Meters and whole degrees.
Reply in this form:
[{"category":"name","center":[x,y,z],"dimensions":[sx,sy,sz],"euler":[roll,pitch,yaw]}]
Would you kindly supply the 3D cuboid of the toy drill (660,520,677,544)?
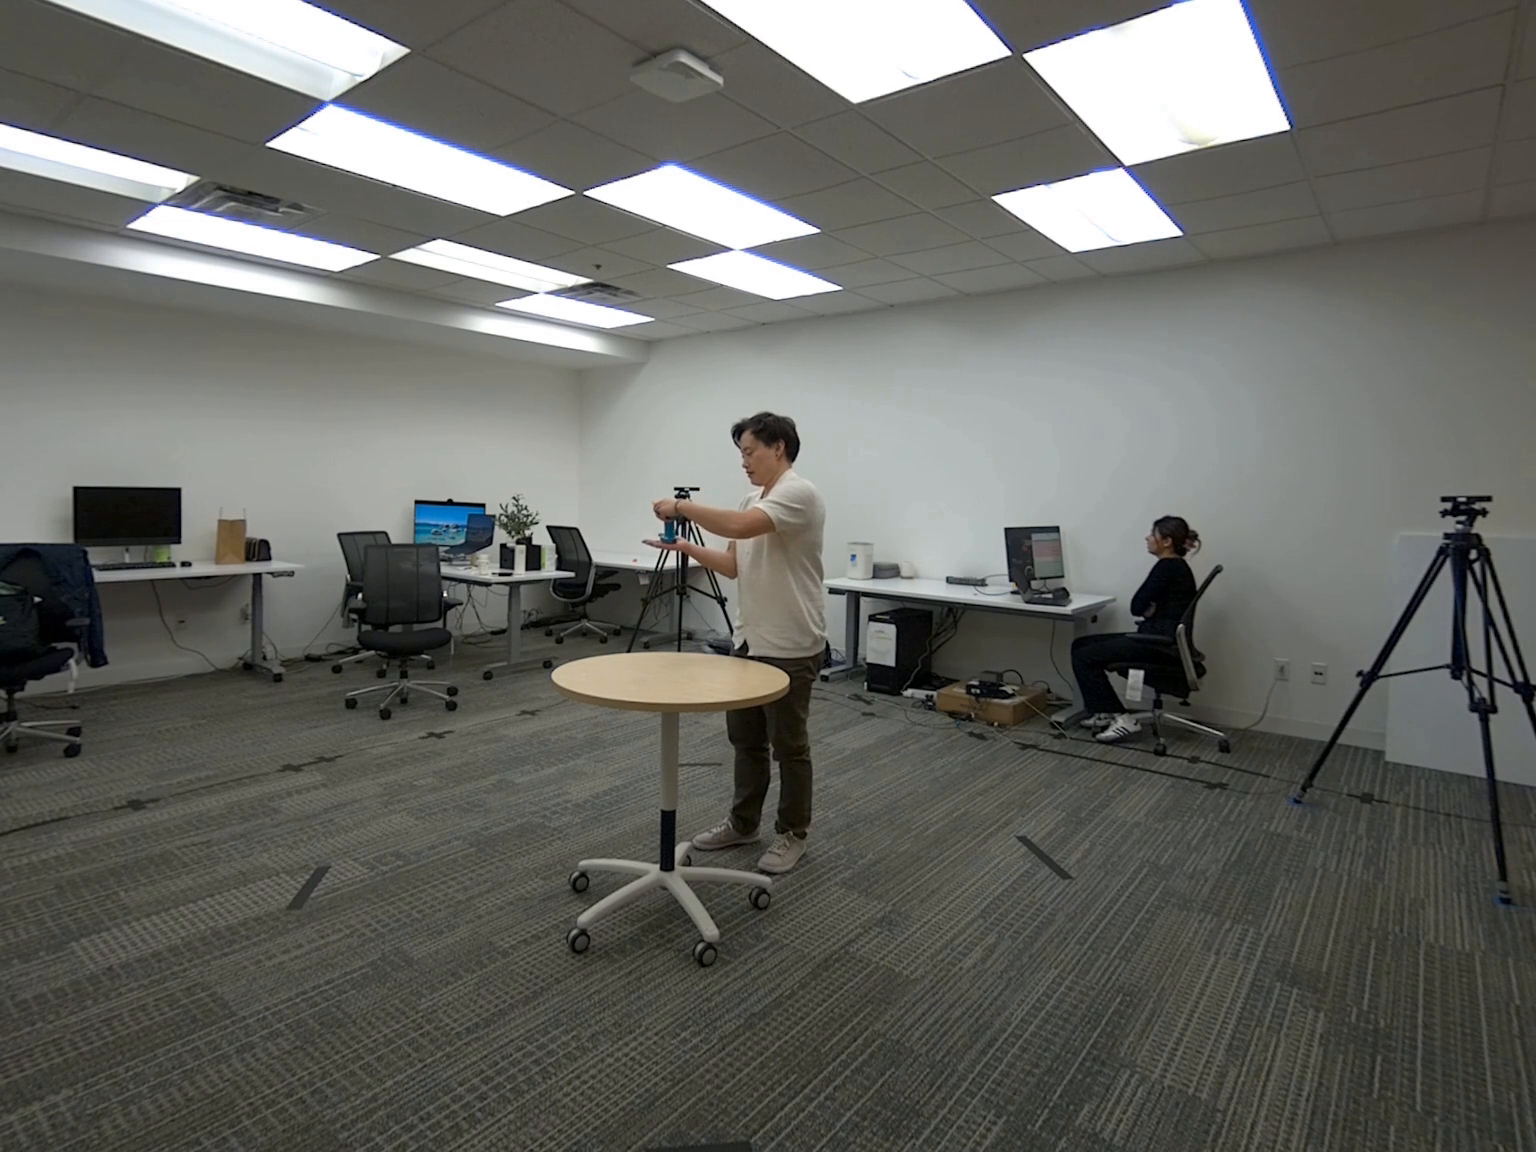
[{"category":"toy drill","center":[-0.396,-0.212,3.116],"dimensions":[0.059,0.144,0.177],"euler":[-8,24,-38]}]
